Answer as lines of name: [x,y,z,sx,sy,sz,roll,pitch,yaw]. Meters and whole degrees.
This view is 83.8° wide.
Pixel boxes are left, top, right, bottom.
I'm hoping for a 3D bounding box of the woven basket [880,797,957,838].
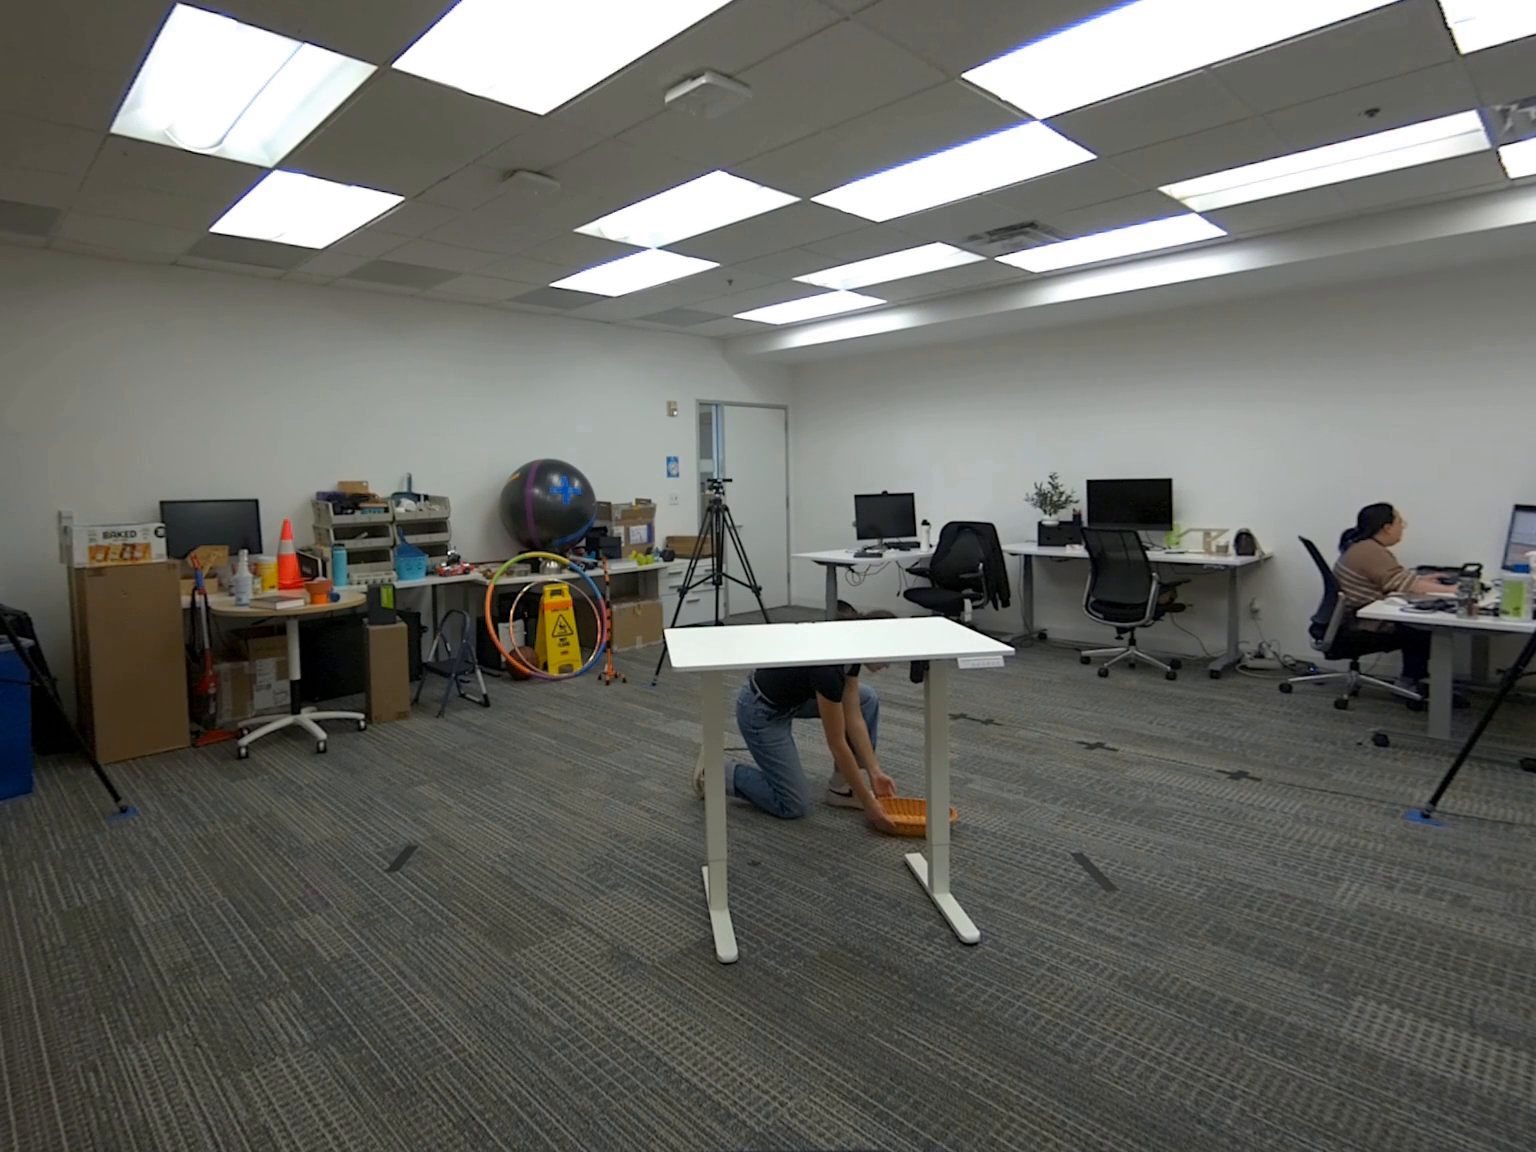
woven basket: [0.564,0.961,3.404,0.355,0.073,0.250,1,8,13]
